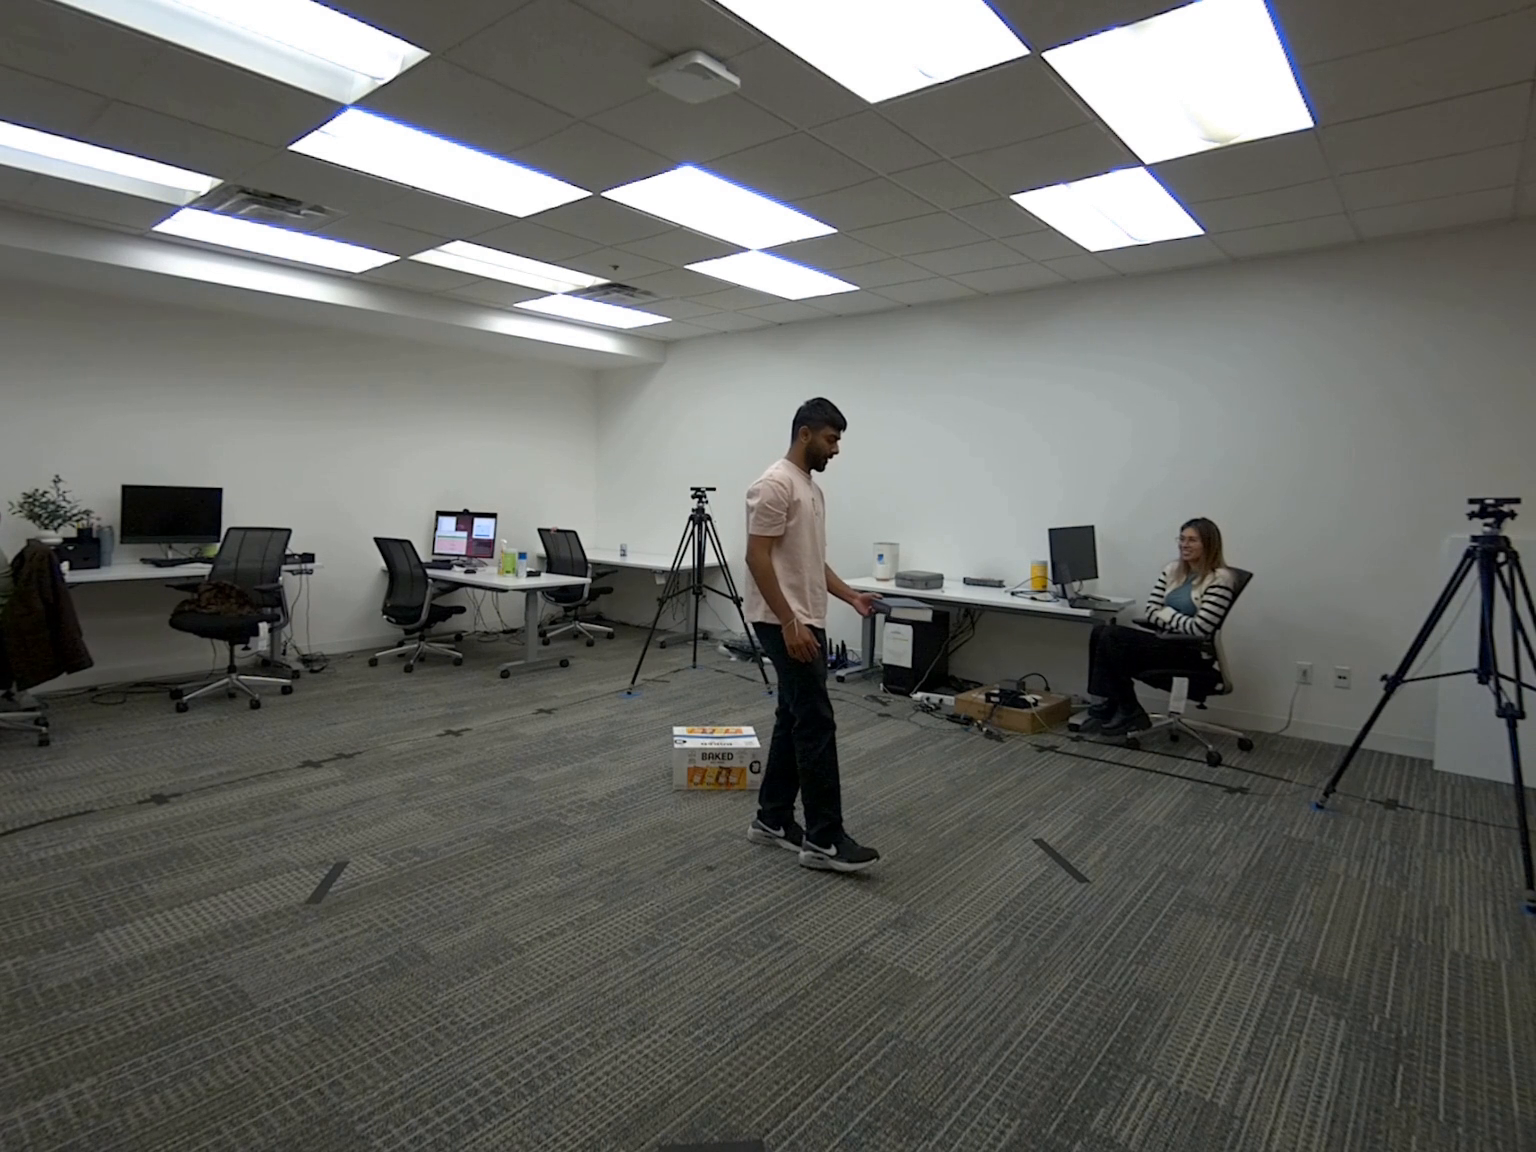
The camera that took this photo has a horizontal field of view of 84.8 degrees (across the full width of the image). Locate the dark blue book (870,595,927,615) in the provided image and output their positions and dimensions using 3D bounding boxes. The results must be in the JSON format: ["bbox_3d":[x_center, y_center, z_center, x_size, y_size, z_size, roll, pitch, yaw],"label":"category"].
[{"bbox_3d":[0.488,0.118,3.177,0.162,0.045,0.247,5,4,-8],"label":"dark blue book"}]
